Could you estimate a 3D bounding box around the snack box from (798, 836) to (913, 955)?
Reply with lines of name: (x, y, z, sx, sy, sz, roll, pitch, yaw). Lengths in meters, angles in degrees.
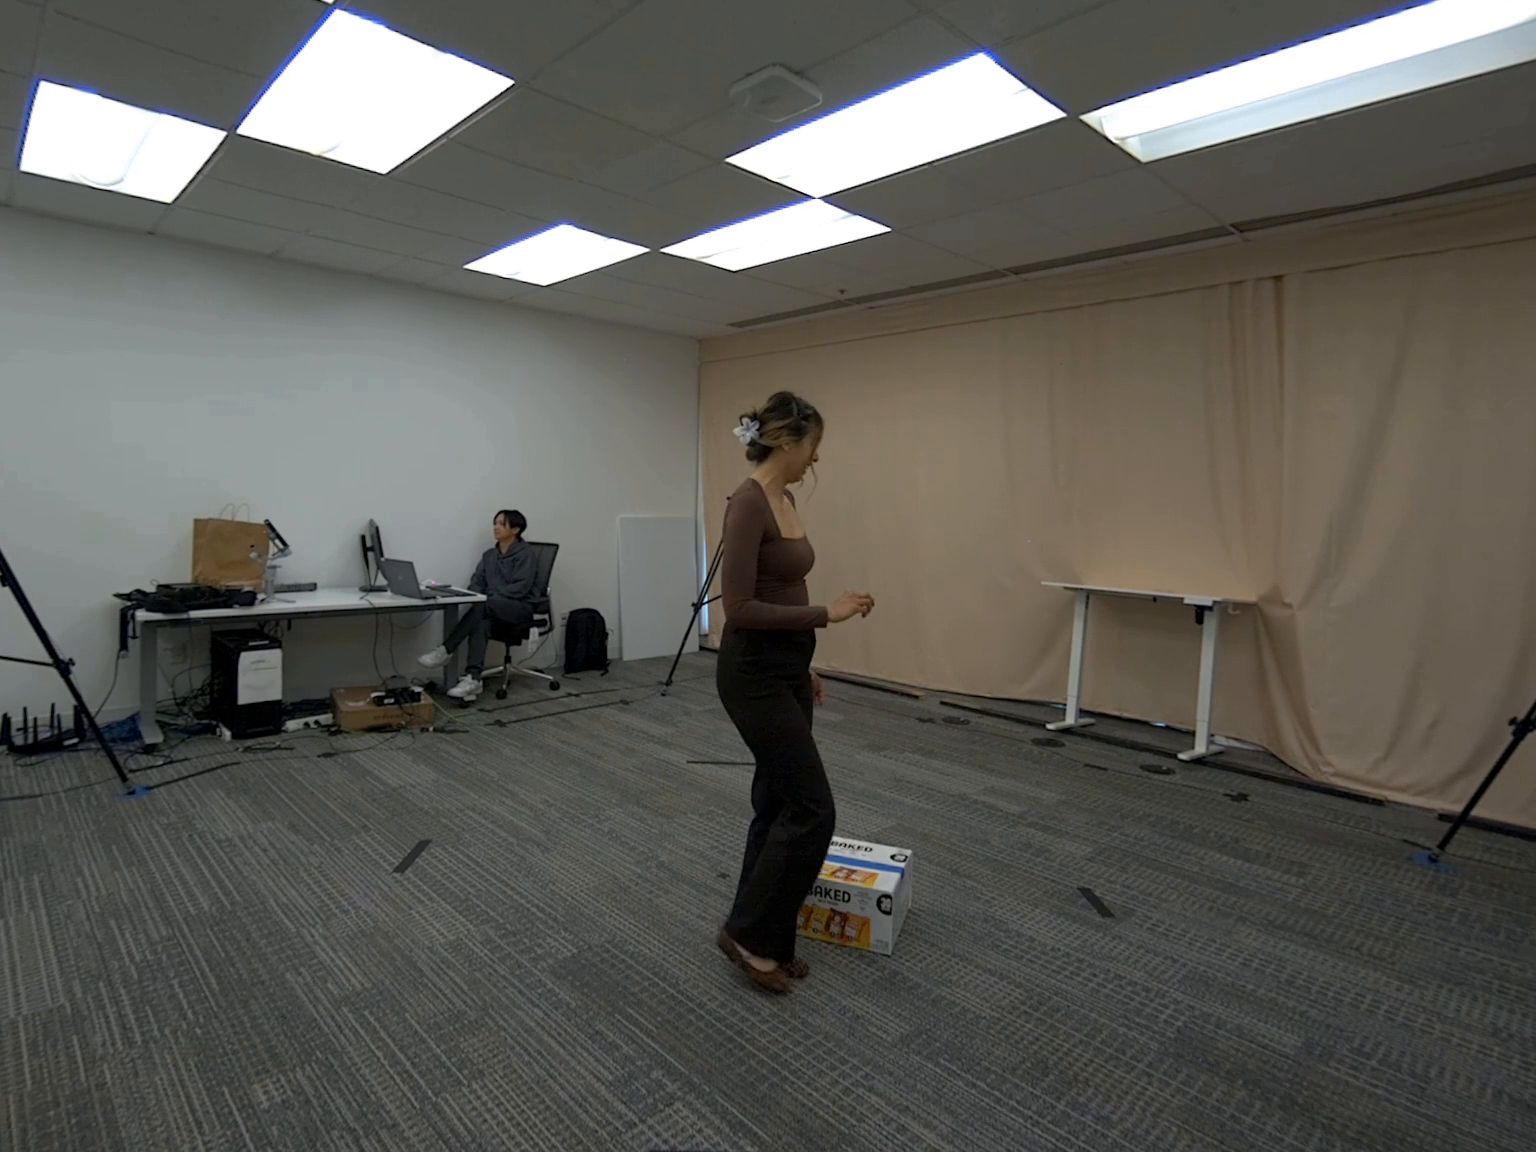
snack box: (0.243, 1.041, 2.796, 0.412, 0.205, 0.336, 3, 5, 21)
